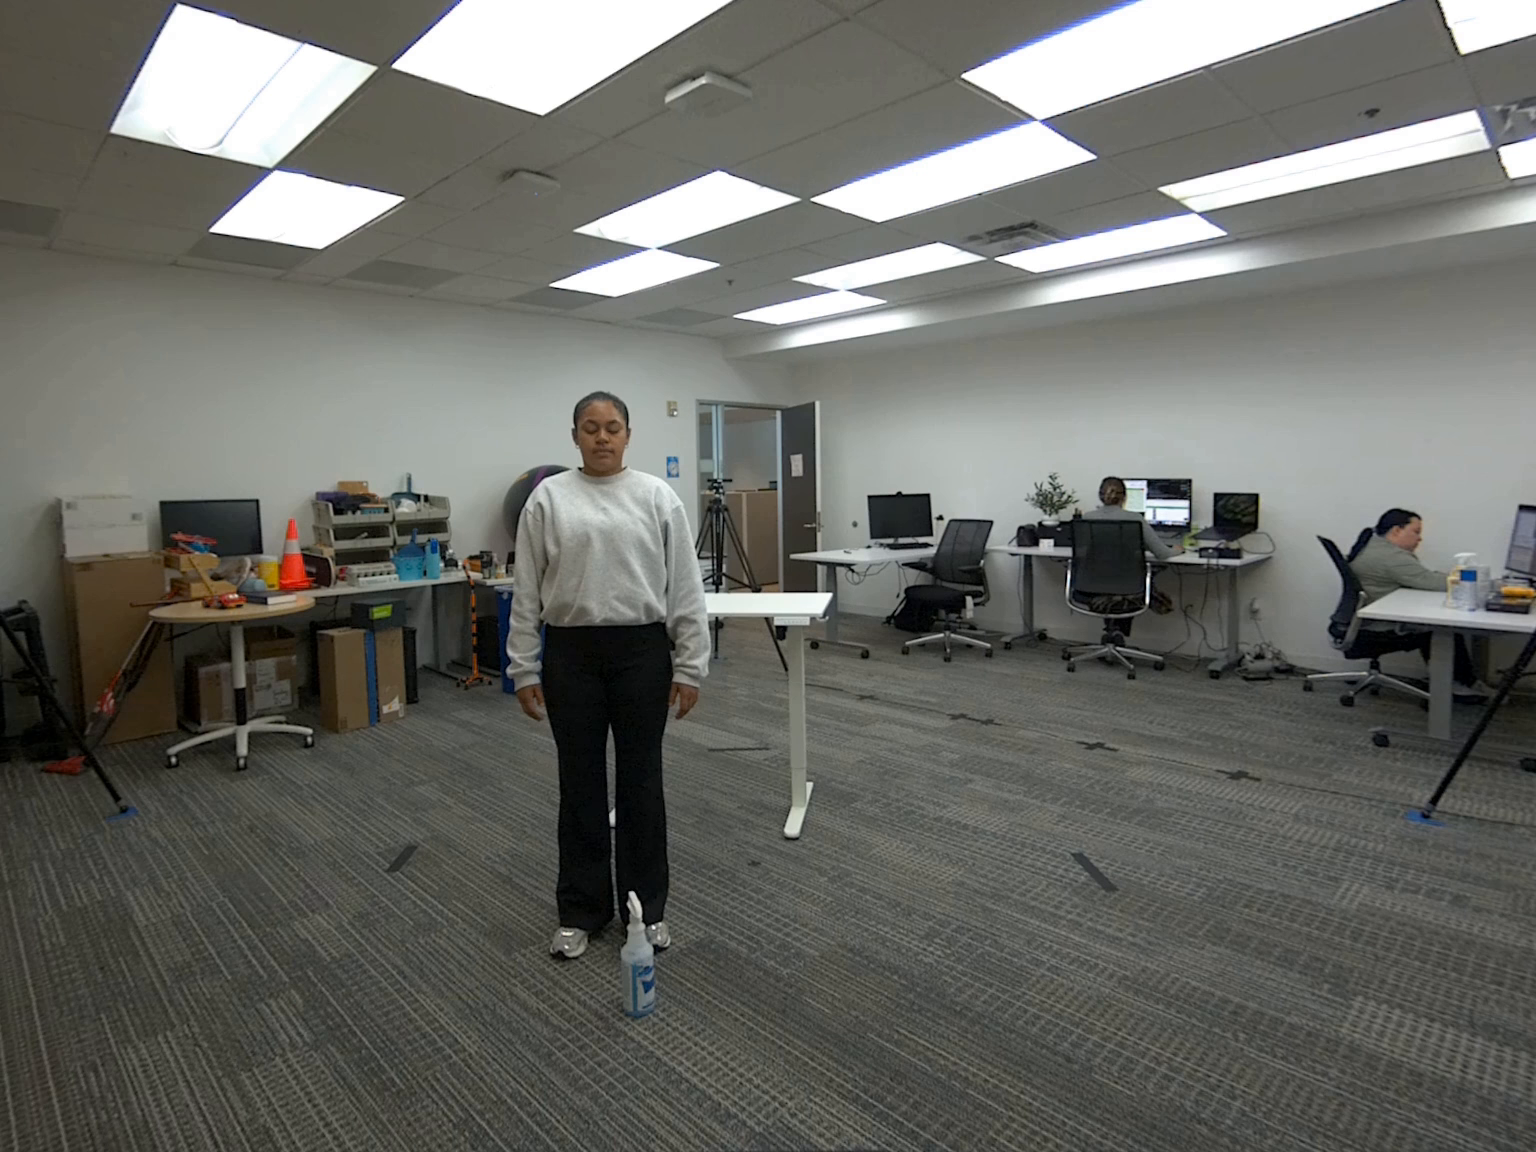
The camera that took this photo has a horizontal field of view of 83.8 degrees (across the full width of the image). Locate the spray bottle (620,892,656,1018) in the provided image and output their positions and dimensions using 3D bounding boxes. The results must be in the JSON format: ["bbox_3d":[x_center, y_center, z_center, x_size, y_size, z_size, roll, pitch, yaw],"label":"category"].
[{"bbox_3d":[-0.345,1.011,2.266,0.087,0.297,0.089,-2,2,5],"label":"spray bottle"}]
